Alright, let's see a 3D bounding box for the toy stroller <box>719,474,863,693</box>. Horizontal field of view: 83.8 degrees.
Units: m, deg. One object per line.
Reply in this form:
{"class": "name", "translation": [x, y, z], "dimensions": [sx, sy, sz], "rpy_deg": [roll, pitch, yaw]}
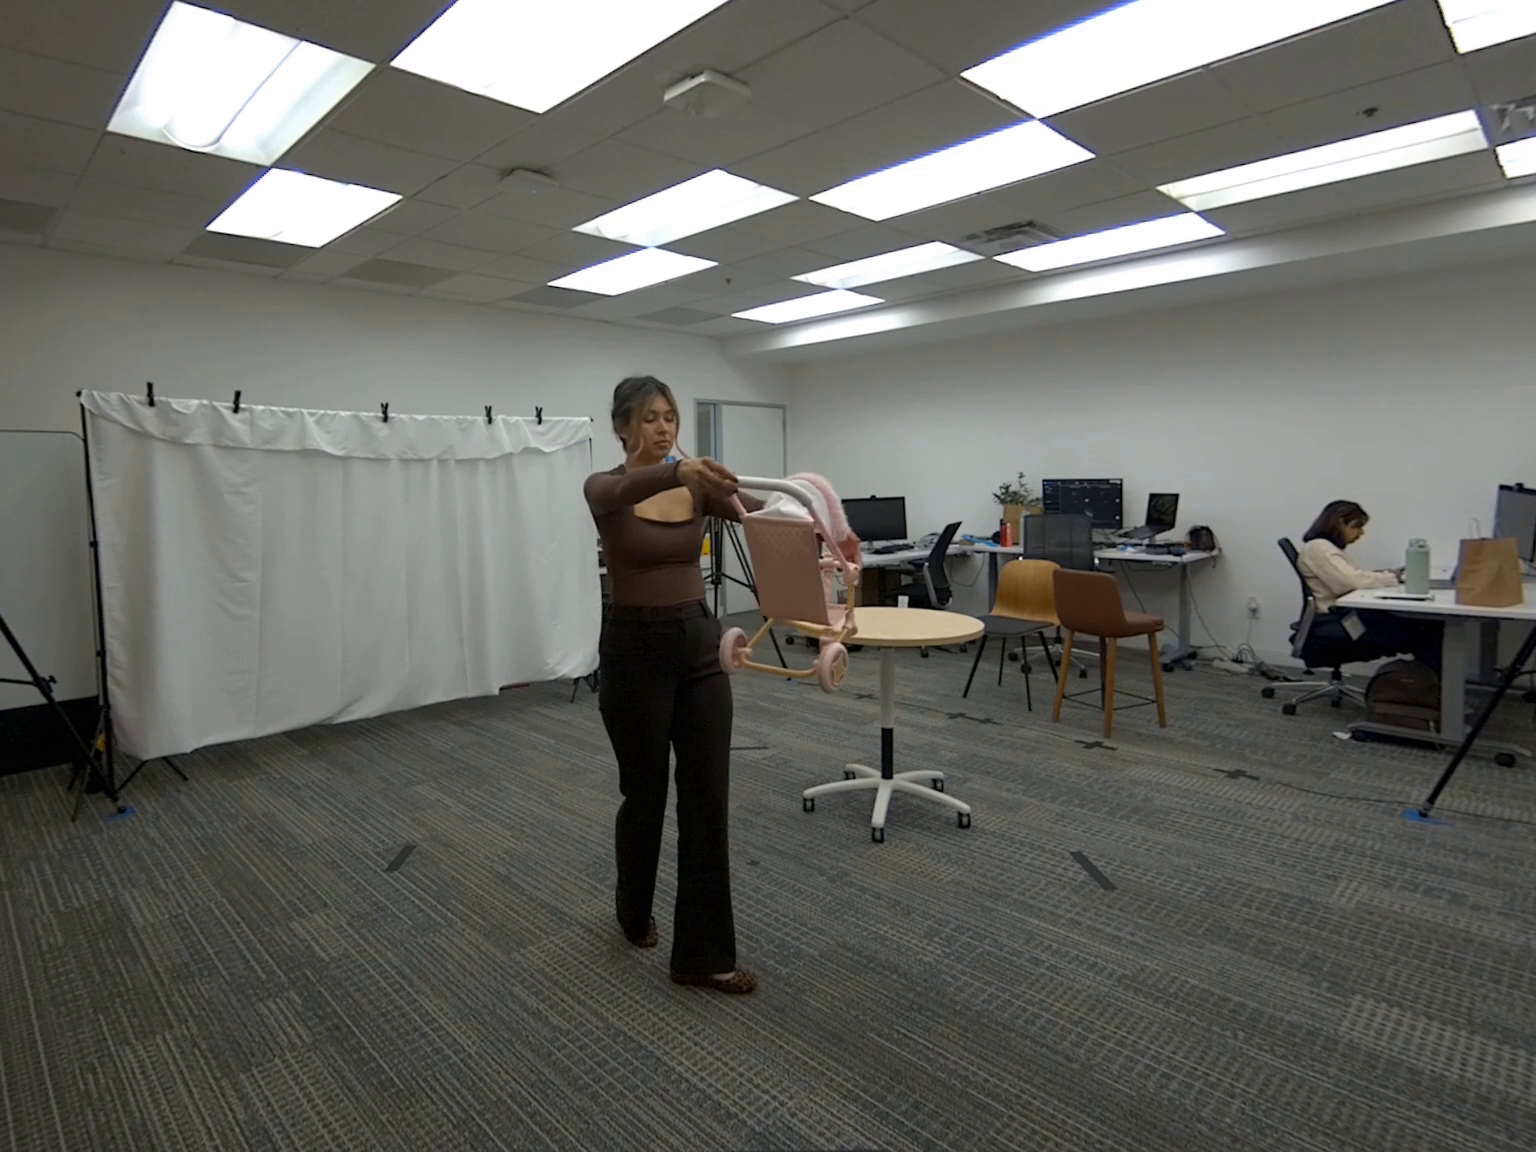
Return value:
{"class": "toy stroller", "translation": [0.083, 0.007, 1.960], "dimensions": [0.290, 0.527, 0.336], "rpy_deg": [6, 19, 33]}
